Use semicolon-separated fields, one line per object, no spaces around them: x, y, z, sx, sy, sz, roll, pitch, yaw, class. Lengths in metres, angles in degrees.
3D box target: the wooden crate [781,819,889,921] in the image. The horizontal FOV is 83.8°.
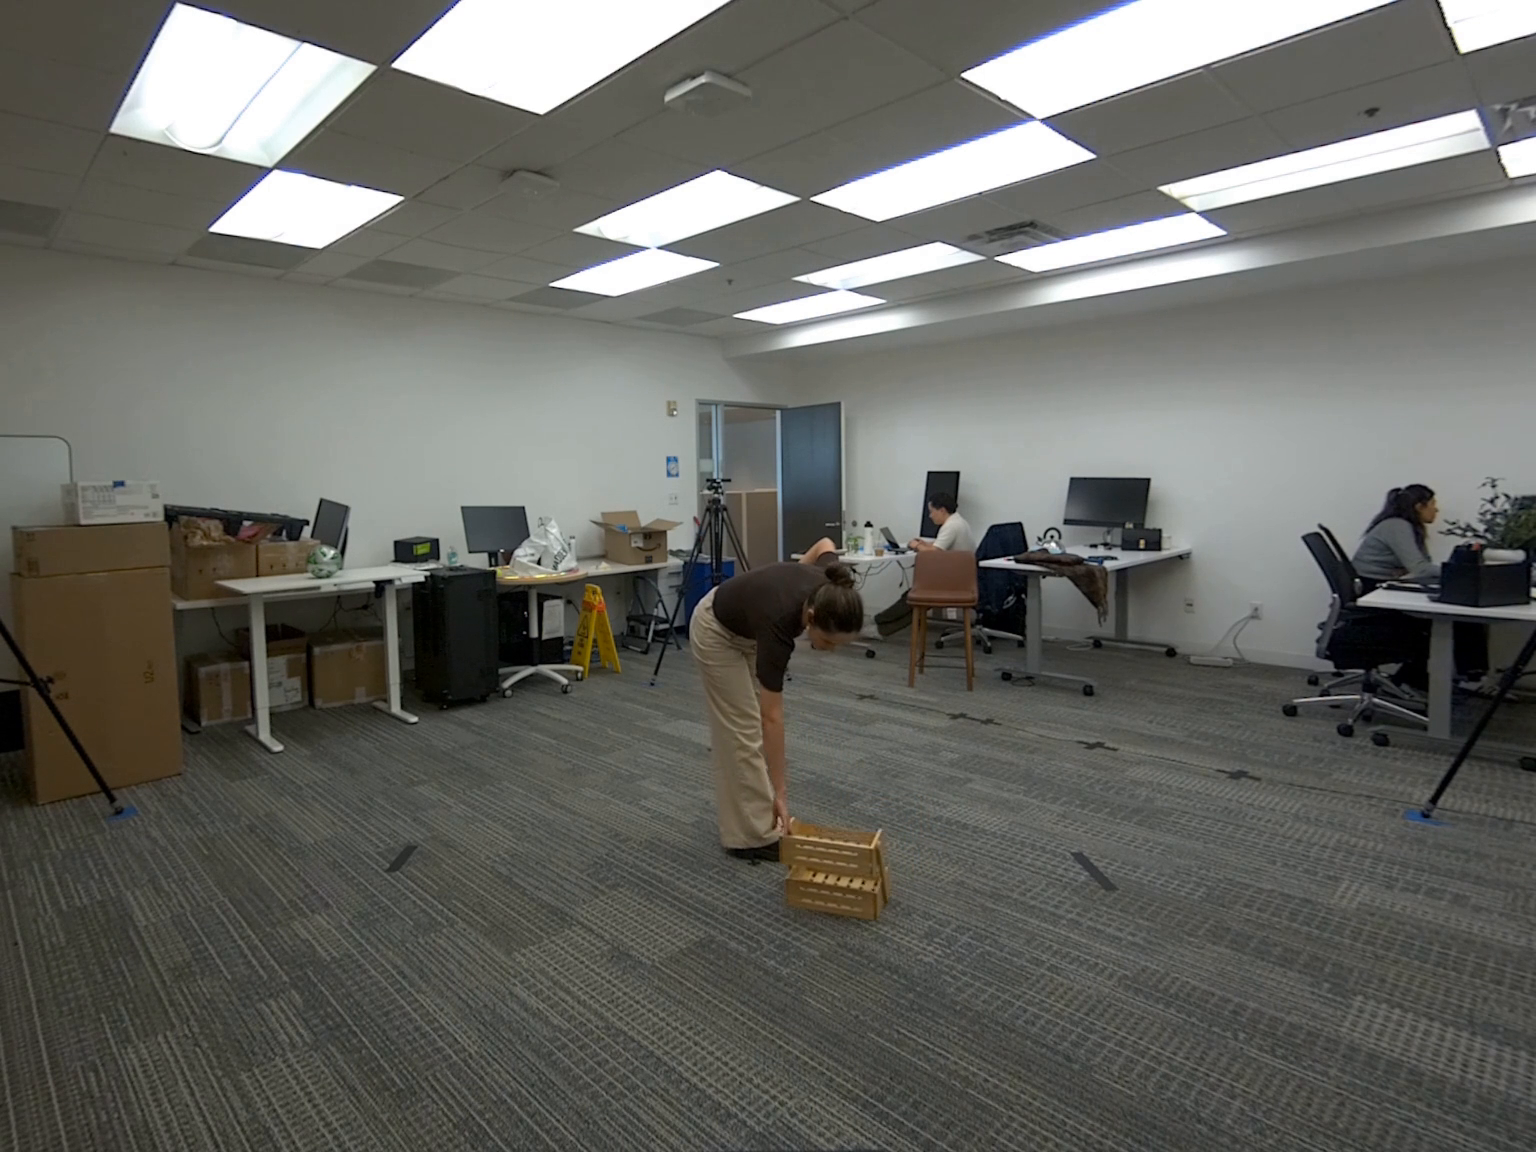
0.231;0.937;2.823;0.331;0.272;0.298;1;6;20;wooden crate
